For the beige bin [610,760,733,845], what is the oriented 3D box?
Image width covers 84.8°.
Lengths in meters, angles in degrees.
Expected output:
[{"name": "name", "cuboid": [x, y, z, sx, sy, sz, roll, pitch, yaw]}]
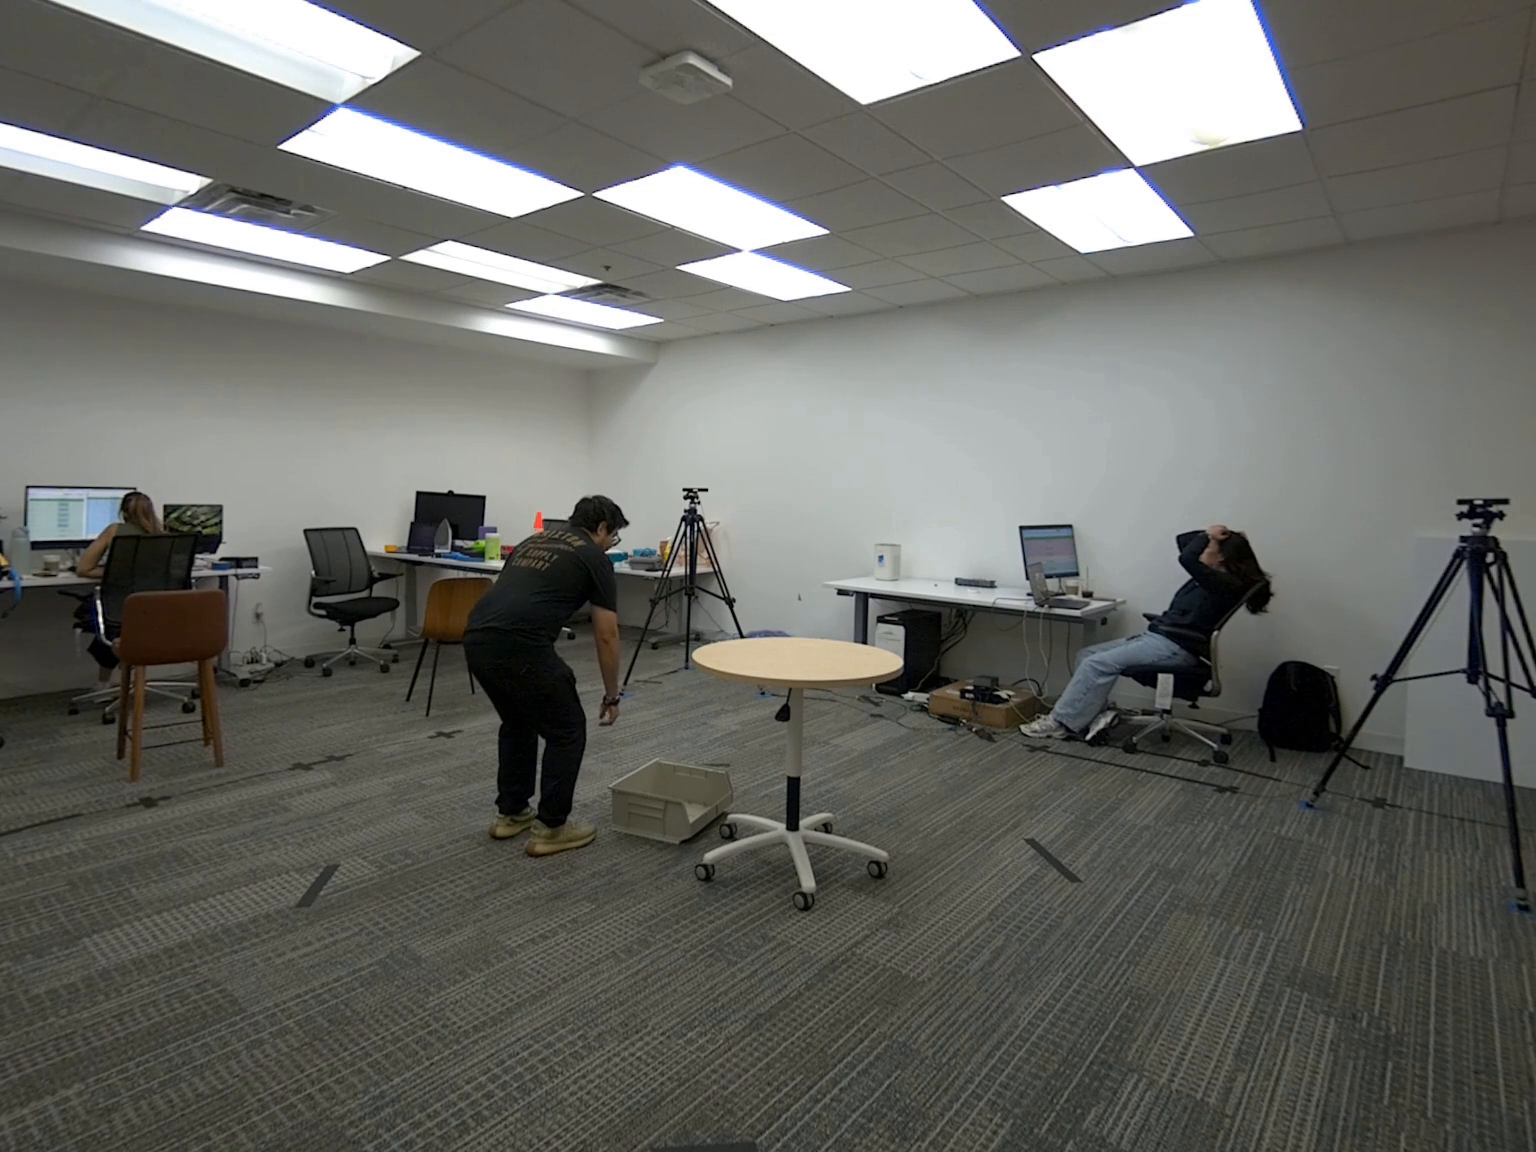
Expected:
[{"name": "beige bin", "cuboid": [-0.411, 0.936, 3.563, 0.387, 0.188, 0.414, 2, 6, 24]}]
